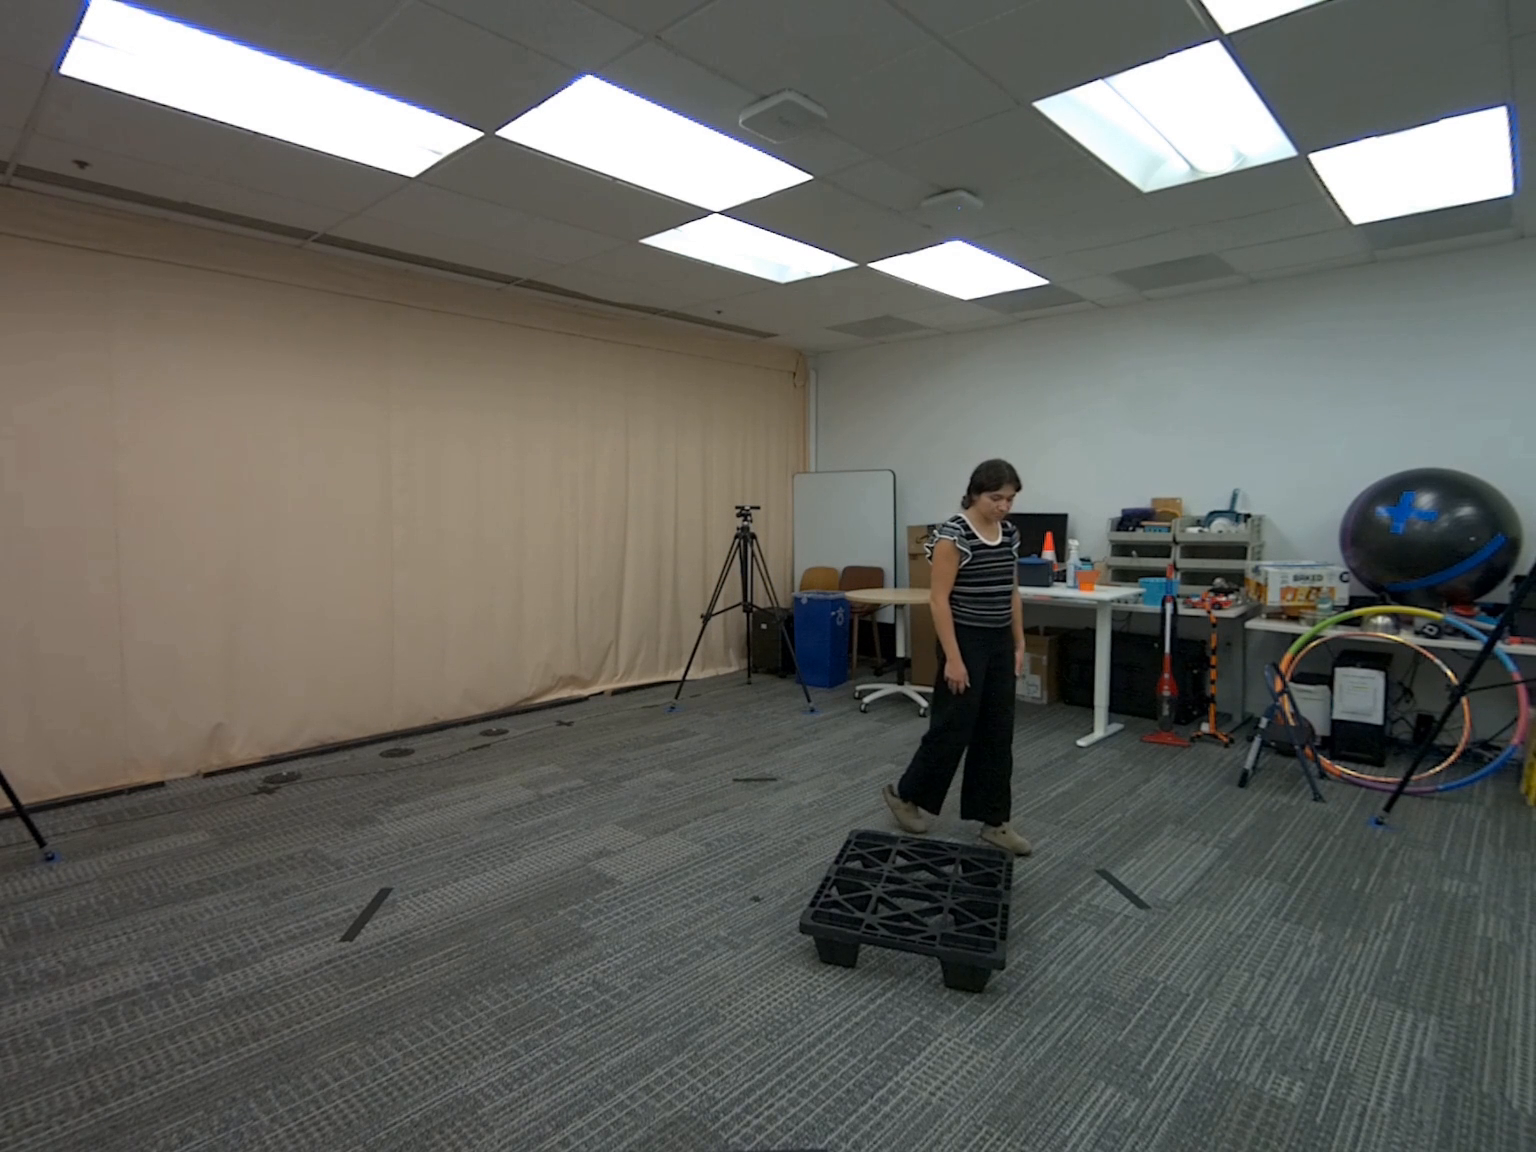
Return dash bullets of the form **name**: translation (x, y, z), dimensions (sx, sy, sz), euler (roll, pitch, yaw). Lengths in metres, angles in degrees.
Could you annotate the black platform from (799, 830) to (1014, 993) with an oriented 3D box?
- **black platform**: translation (0.492, 1.088, 2.812), dimensions (0.618, 0.143, 0.791), euler (1, 5, 19)
